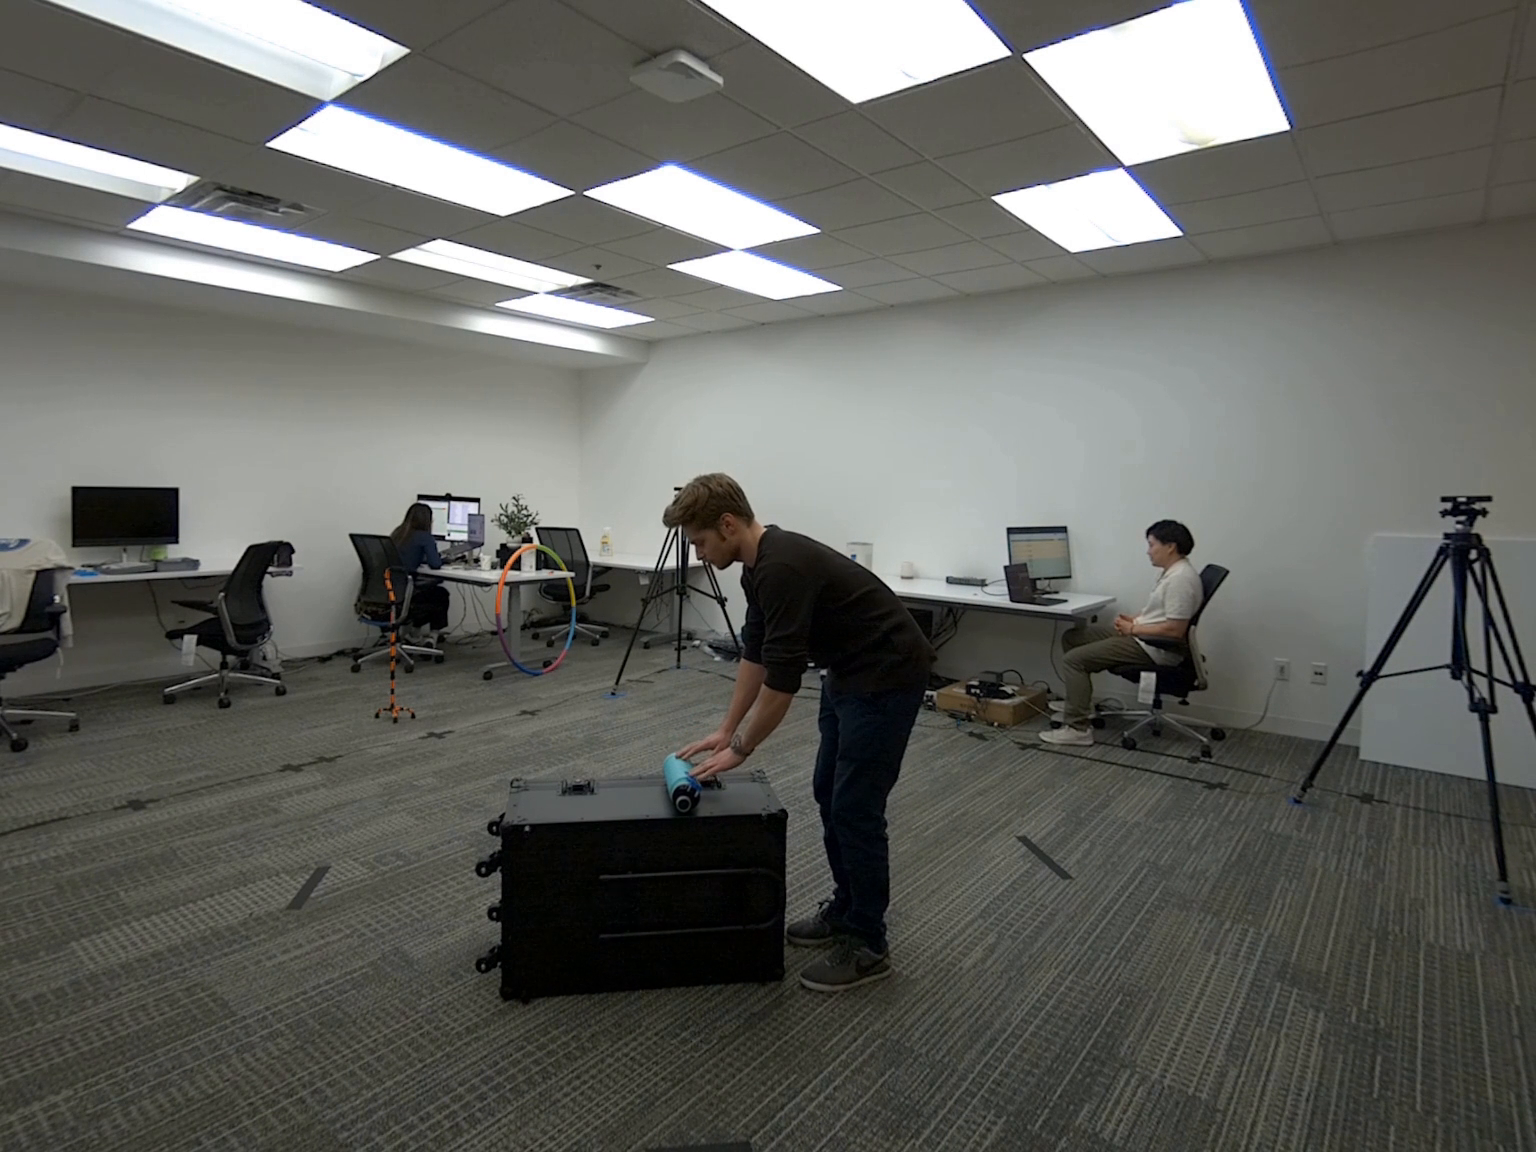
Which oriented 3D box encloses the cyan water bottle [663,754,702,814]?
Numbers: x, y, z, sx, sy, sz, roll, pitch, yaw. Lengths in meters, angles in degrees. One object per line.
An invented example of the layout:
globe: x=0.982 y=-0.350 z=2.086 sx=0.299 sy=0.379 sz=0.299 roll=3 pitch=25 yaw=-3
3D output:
cyan water bottle: x=-0.263 y=0.604 z=2.486 sx=0.091 sy=0.092 sz=0.288 roll=0 pitch=8 yaw=-10
